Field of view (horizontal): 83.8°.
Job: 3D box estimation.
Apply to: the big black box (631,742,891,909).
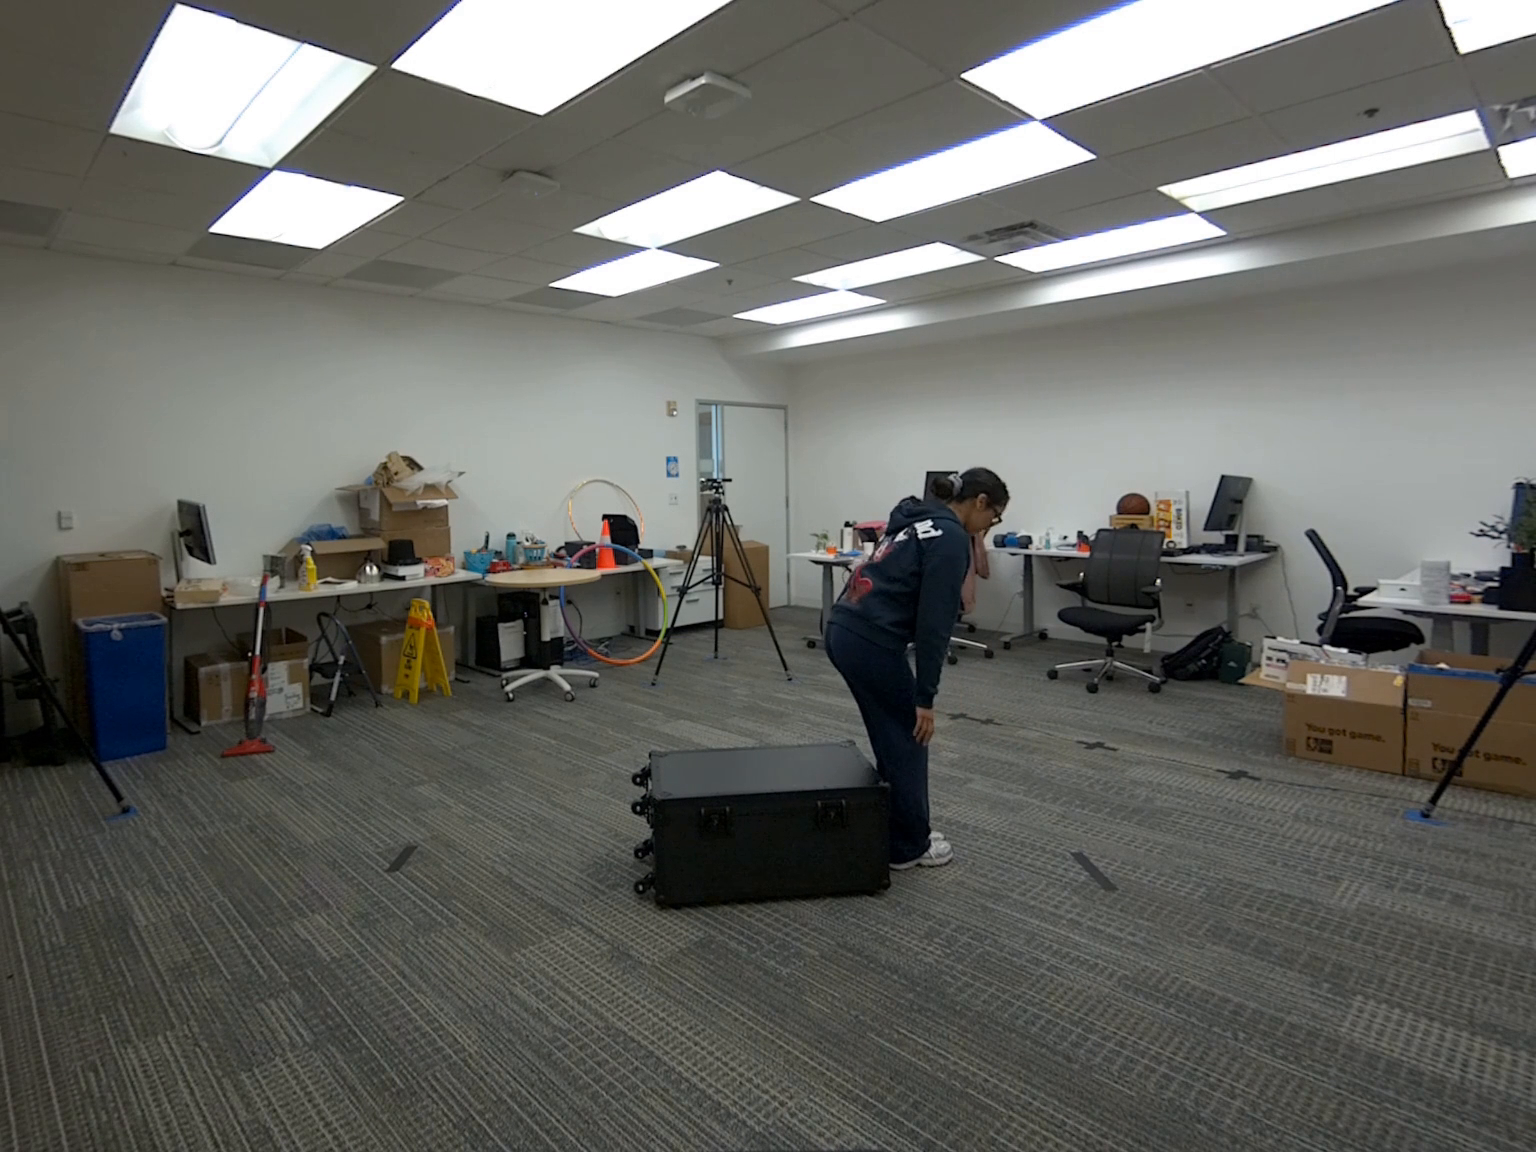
[{"bbox_3d":[-0.053,0.858,3.024,0.856,0.394,0.527,-1,6,-7],"label":"big black box"}]
